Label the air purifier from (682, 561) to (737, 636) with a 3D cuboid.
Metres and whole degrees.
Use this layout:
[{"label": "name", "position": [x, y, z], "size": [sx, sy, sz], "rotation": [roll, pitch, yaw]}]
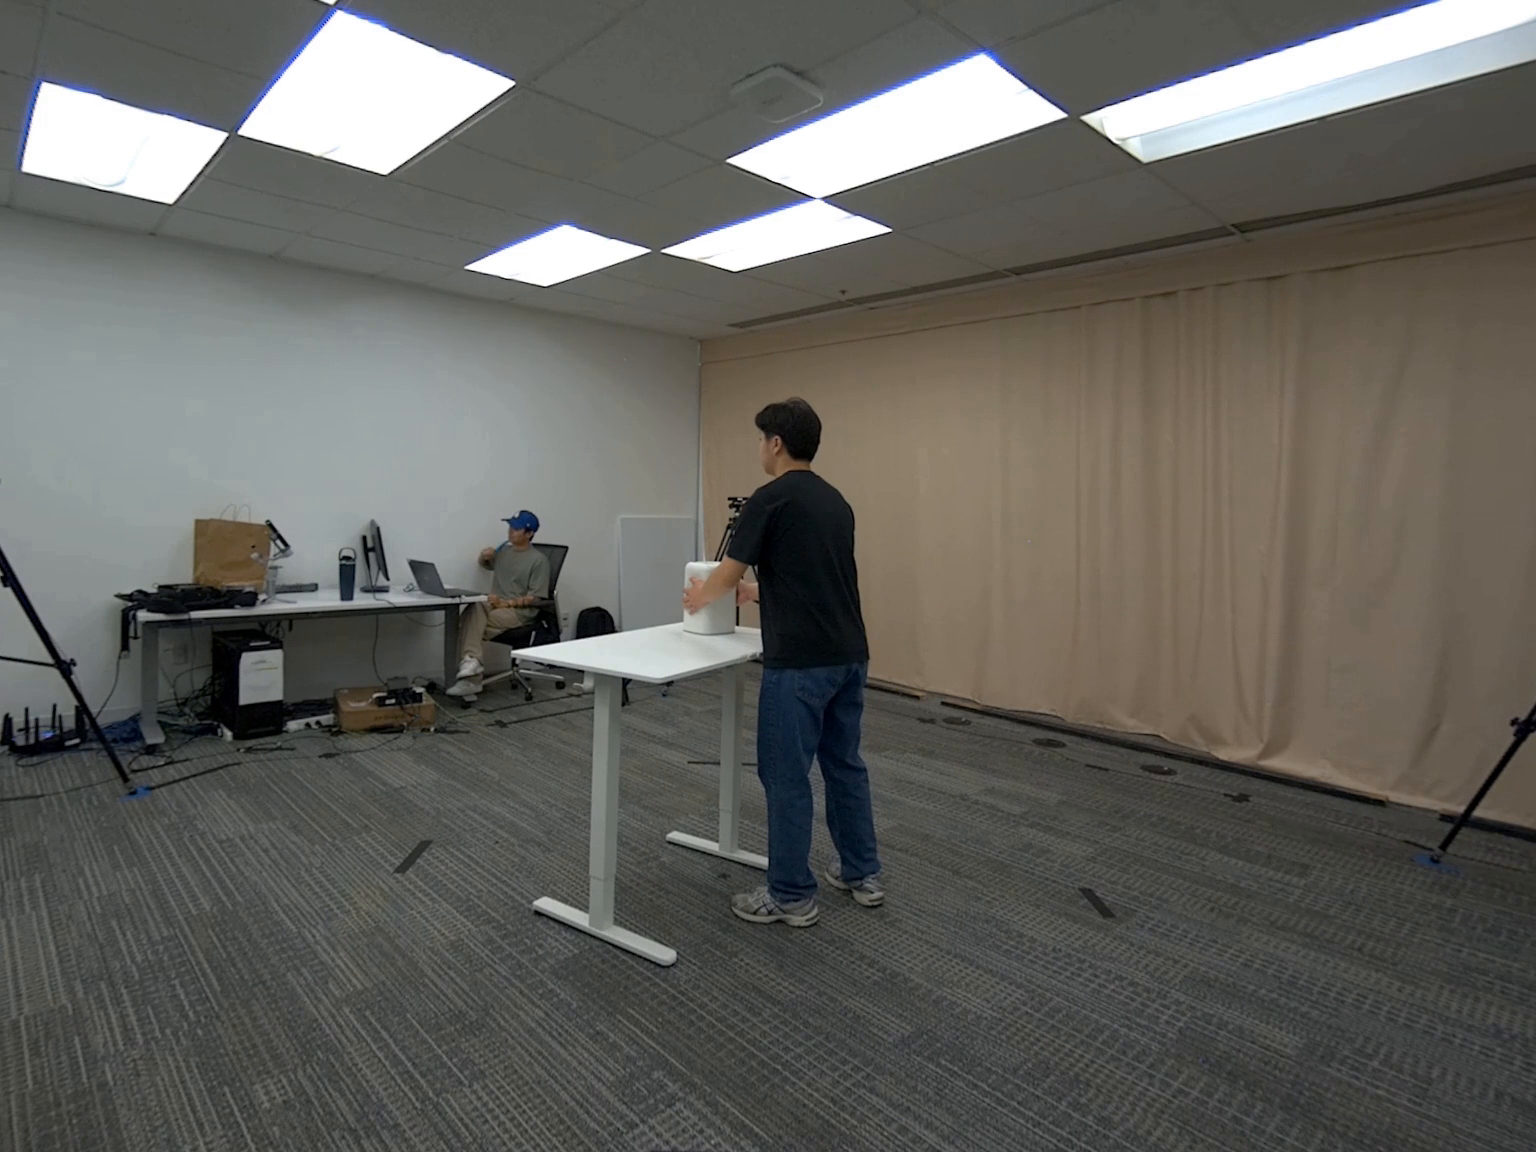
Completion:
[{"label": "air purifier", "position": [-0.227, 0.083, 3.219], "size": [0.176, 0.265, 0.167], "rotation": [4, 4, 45]}]
